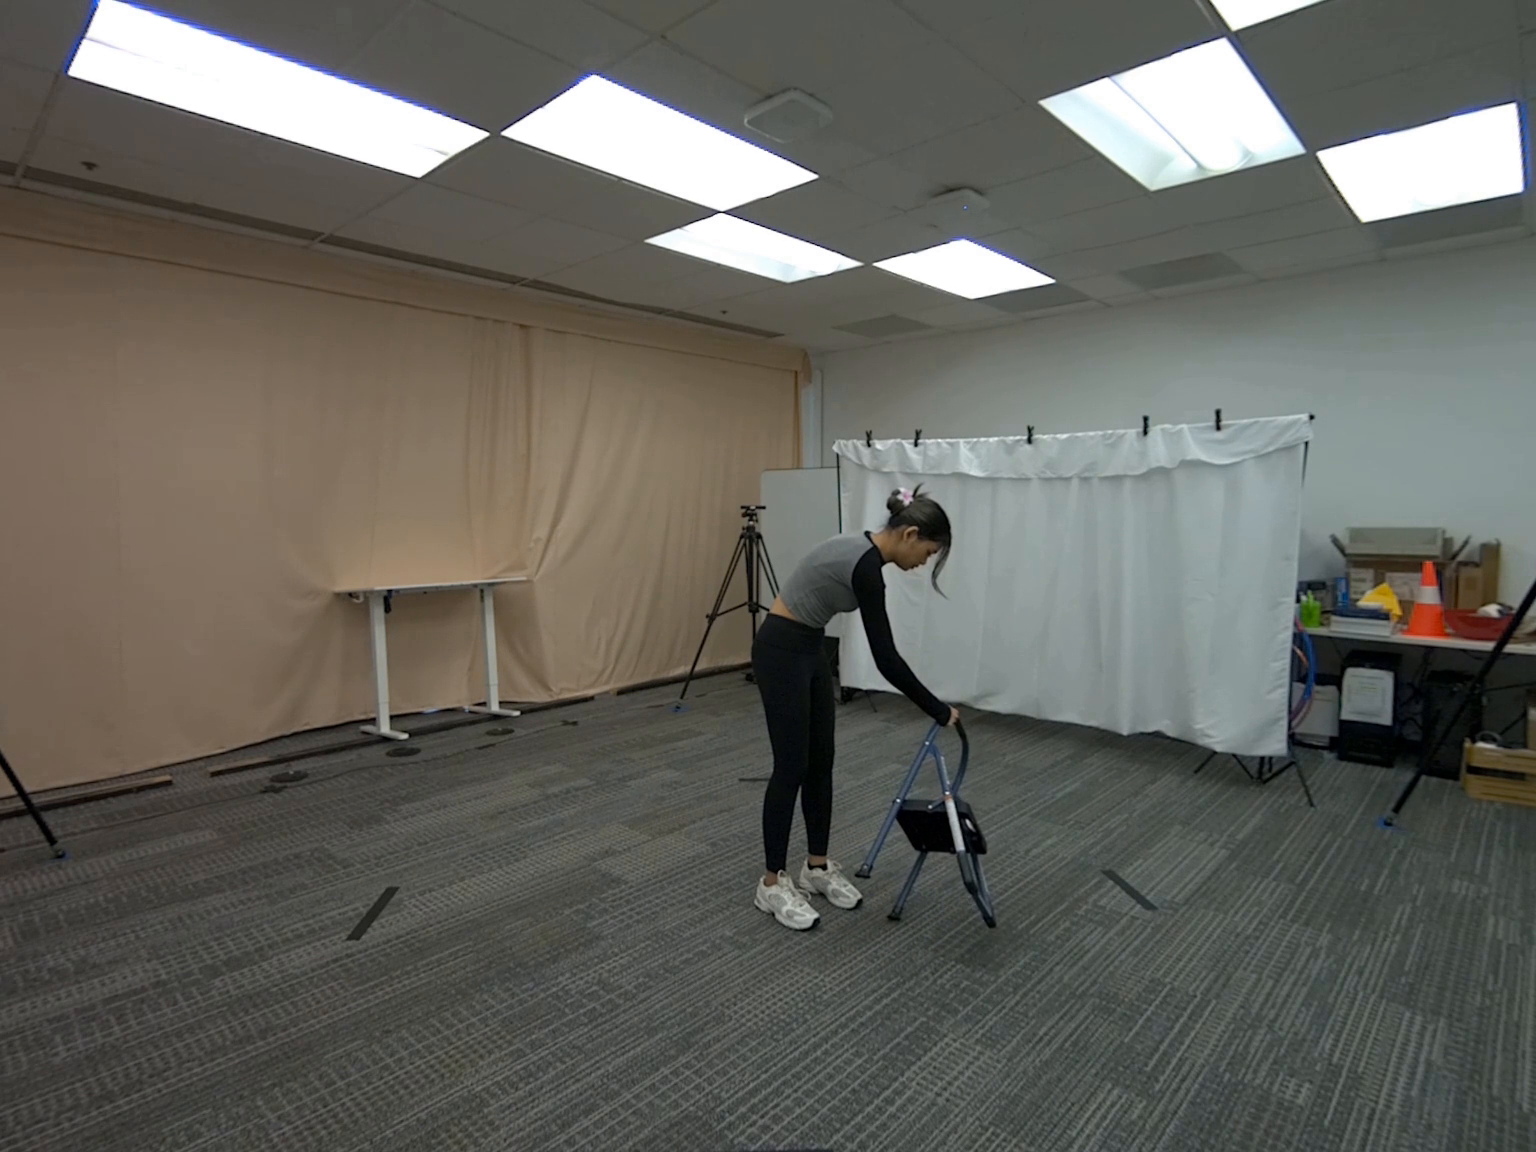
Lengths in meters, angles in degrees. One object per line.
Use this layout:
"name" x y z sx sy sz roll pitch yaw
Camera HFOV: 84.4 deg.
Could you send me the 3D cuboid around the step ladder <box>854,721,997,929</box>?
"step ladder" 0.557 0.776 2.783 0.357 0.612 0.416 -5 -39 24
